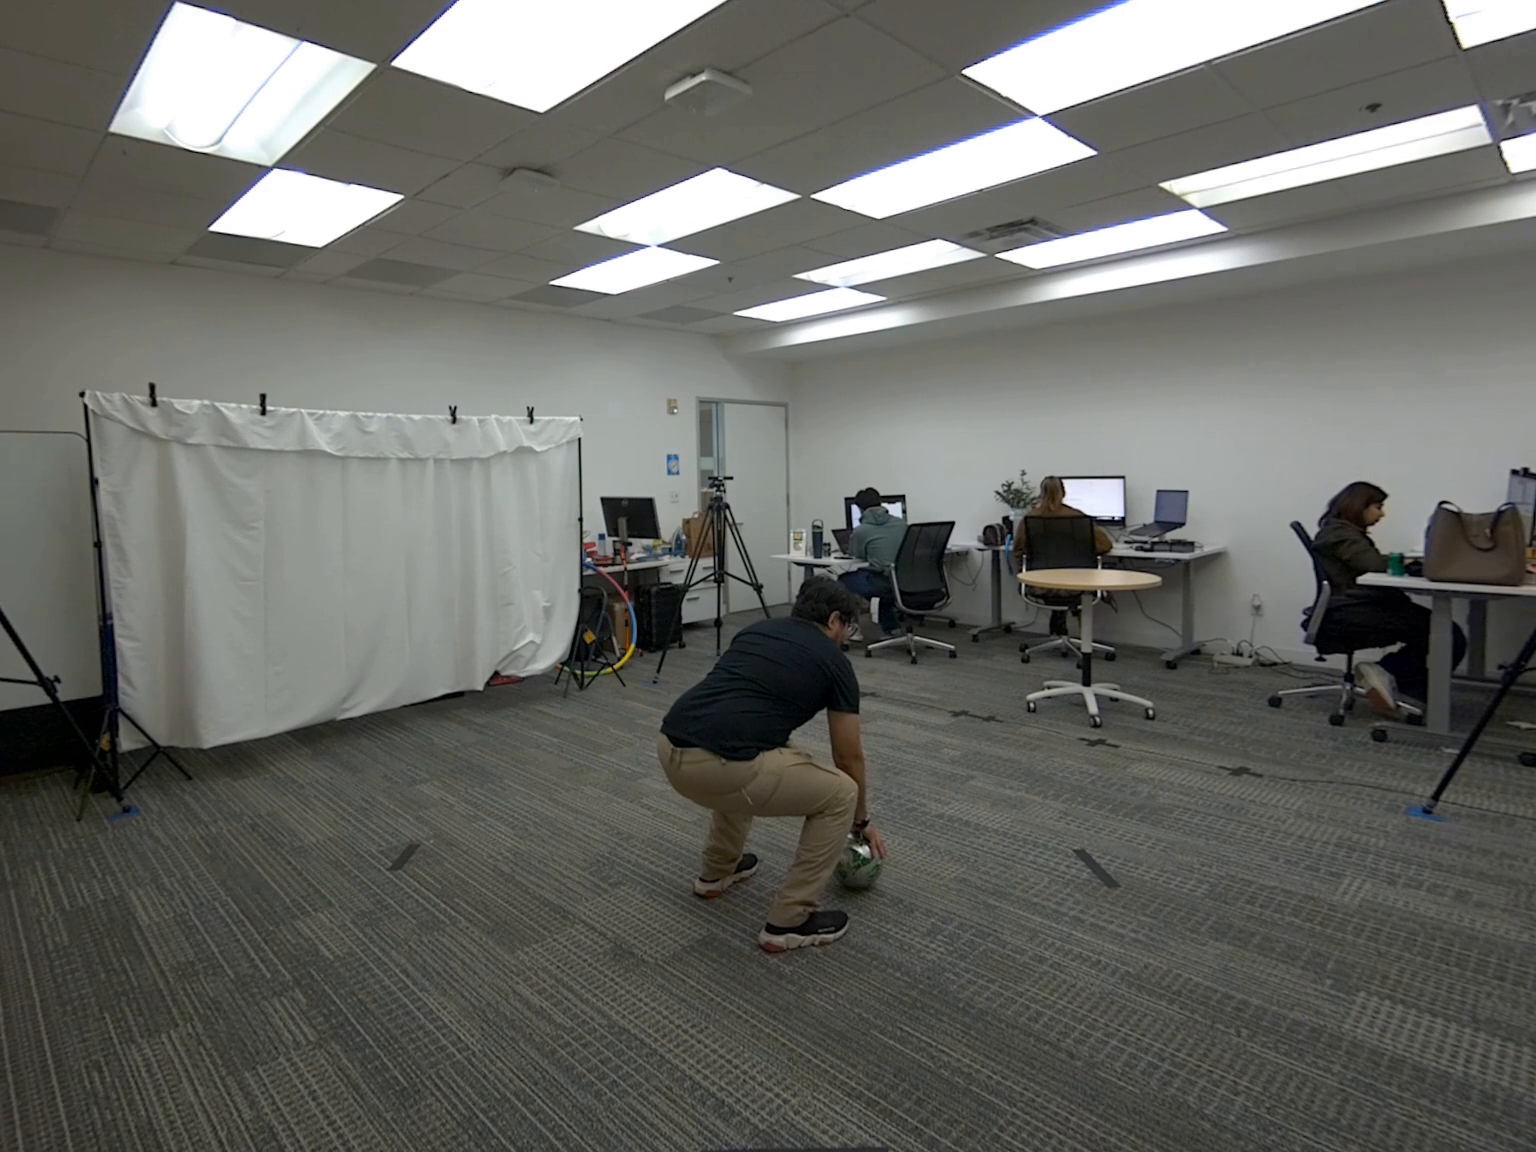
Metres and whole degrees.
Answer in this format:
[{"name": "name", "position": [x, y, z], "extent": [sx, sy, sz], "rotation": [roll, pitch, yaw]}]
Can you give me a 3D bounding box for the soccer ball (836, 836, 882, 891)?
[{"name": "soccer ball", "position": [0.298, 0.954, 2.896], "extent": [0.187, 0.187, 0.188], "rotation": [-1, 5, -2]}]
